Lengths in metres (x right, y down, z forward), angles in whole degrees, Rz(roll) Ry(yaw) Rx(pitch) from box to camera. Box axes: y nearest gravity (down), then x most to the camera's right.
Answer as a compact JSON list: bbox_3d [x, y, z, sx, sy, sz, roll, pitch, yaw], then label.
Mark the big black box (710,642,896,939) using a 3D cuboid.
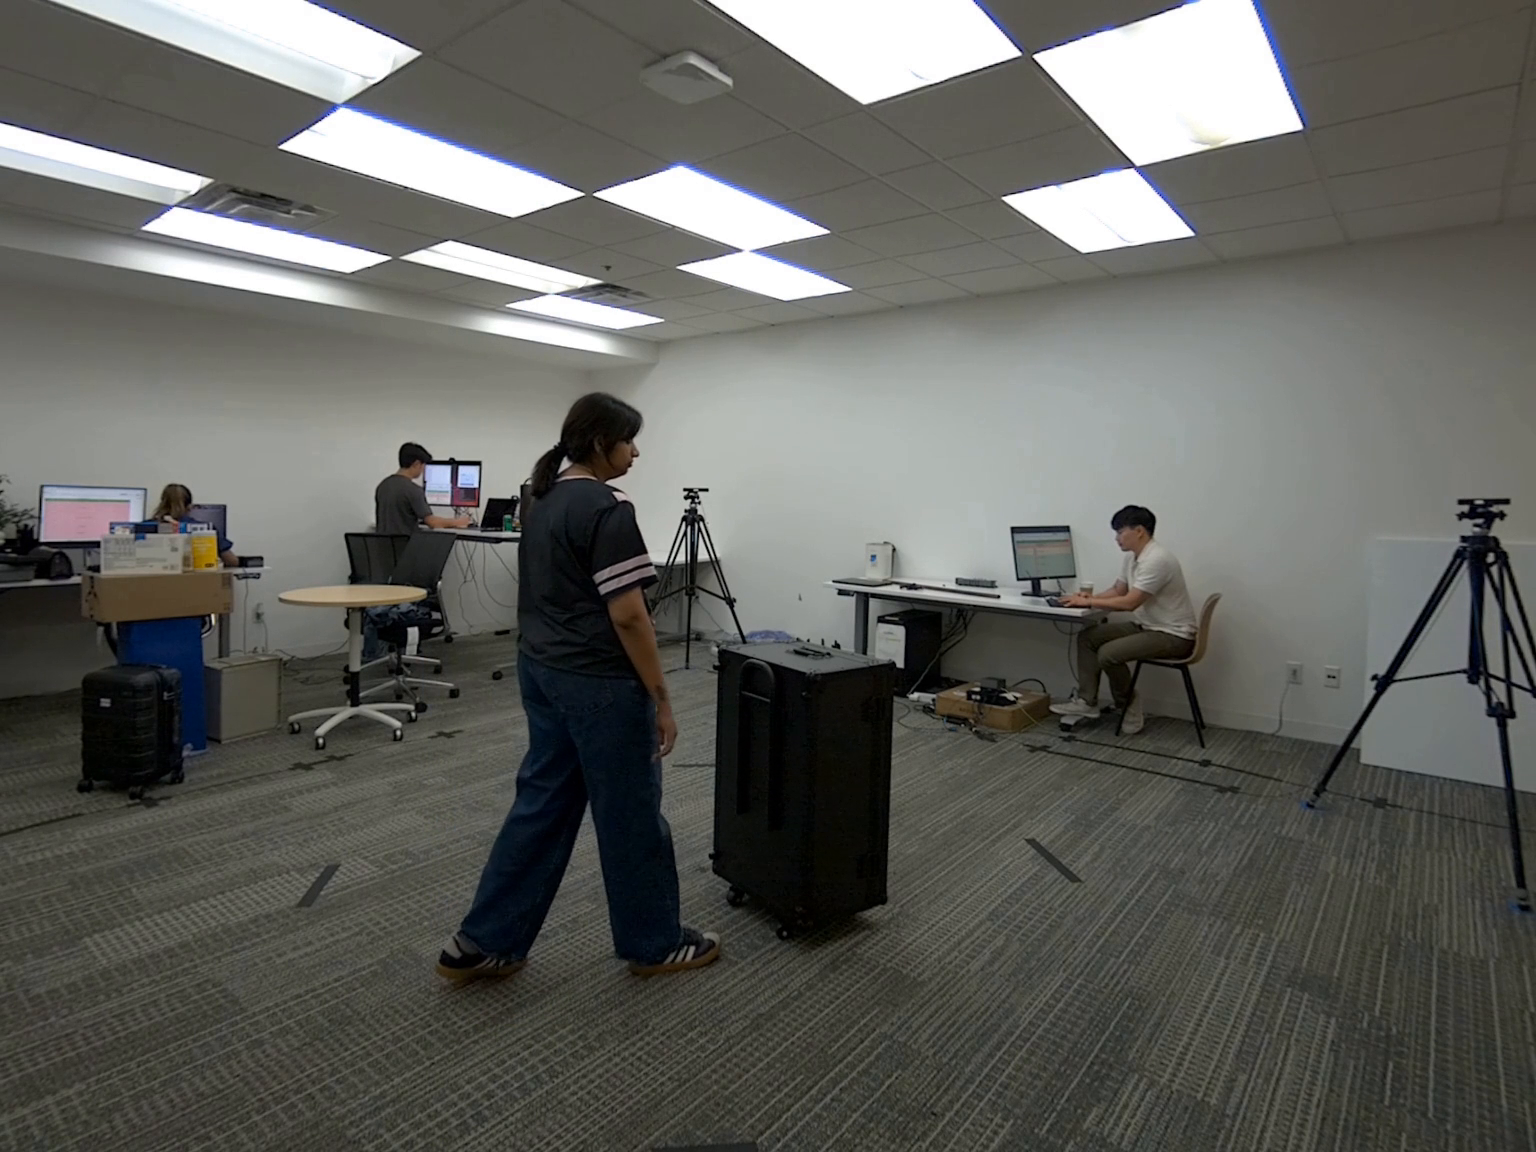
[{"bbox_3d":[0.098,0.683,2.801,0.373,0.866,0.541,-1,4,-38],"label":"big black box"}]
